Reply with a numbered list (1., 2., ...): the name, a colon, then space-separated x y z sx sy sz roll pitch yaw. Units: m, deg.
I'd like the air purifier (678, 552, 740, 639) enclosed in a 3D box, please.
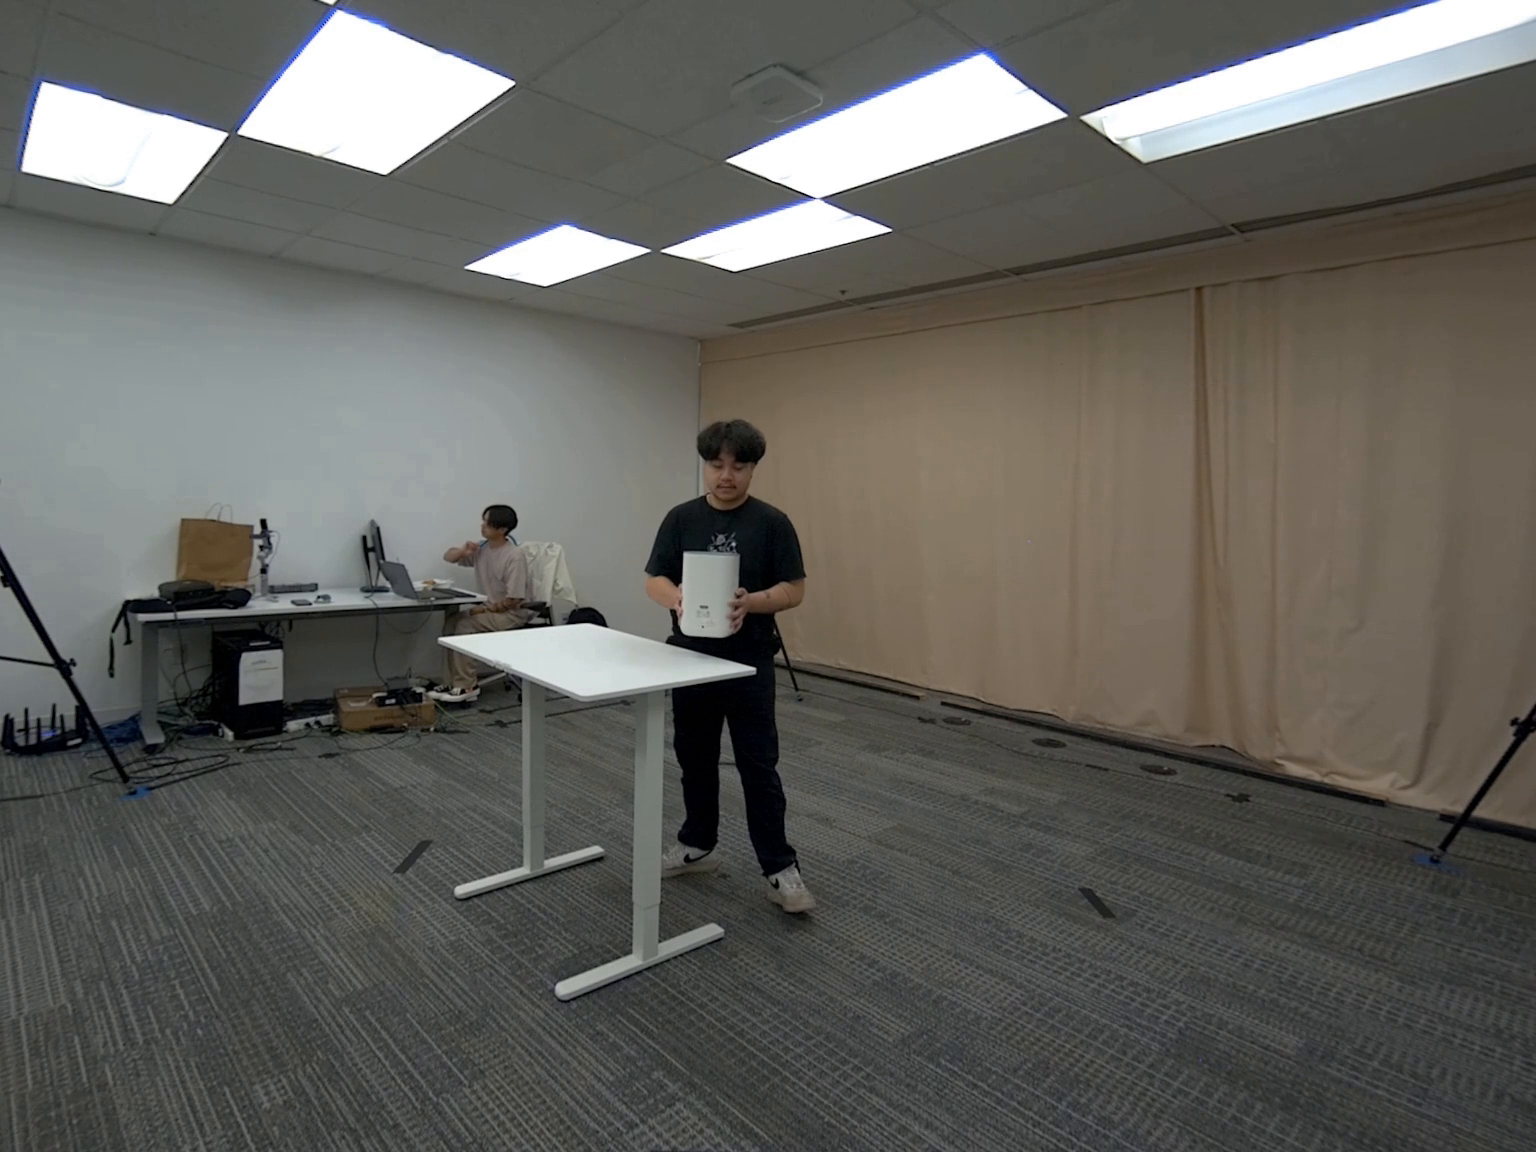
1. air purifier: -0.198 0.058 2.693 0.172 0.265 0.170 3 0 9
